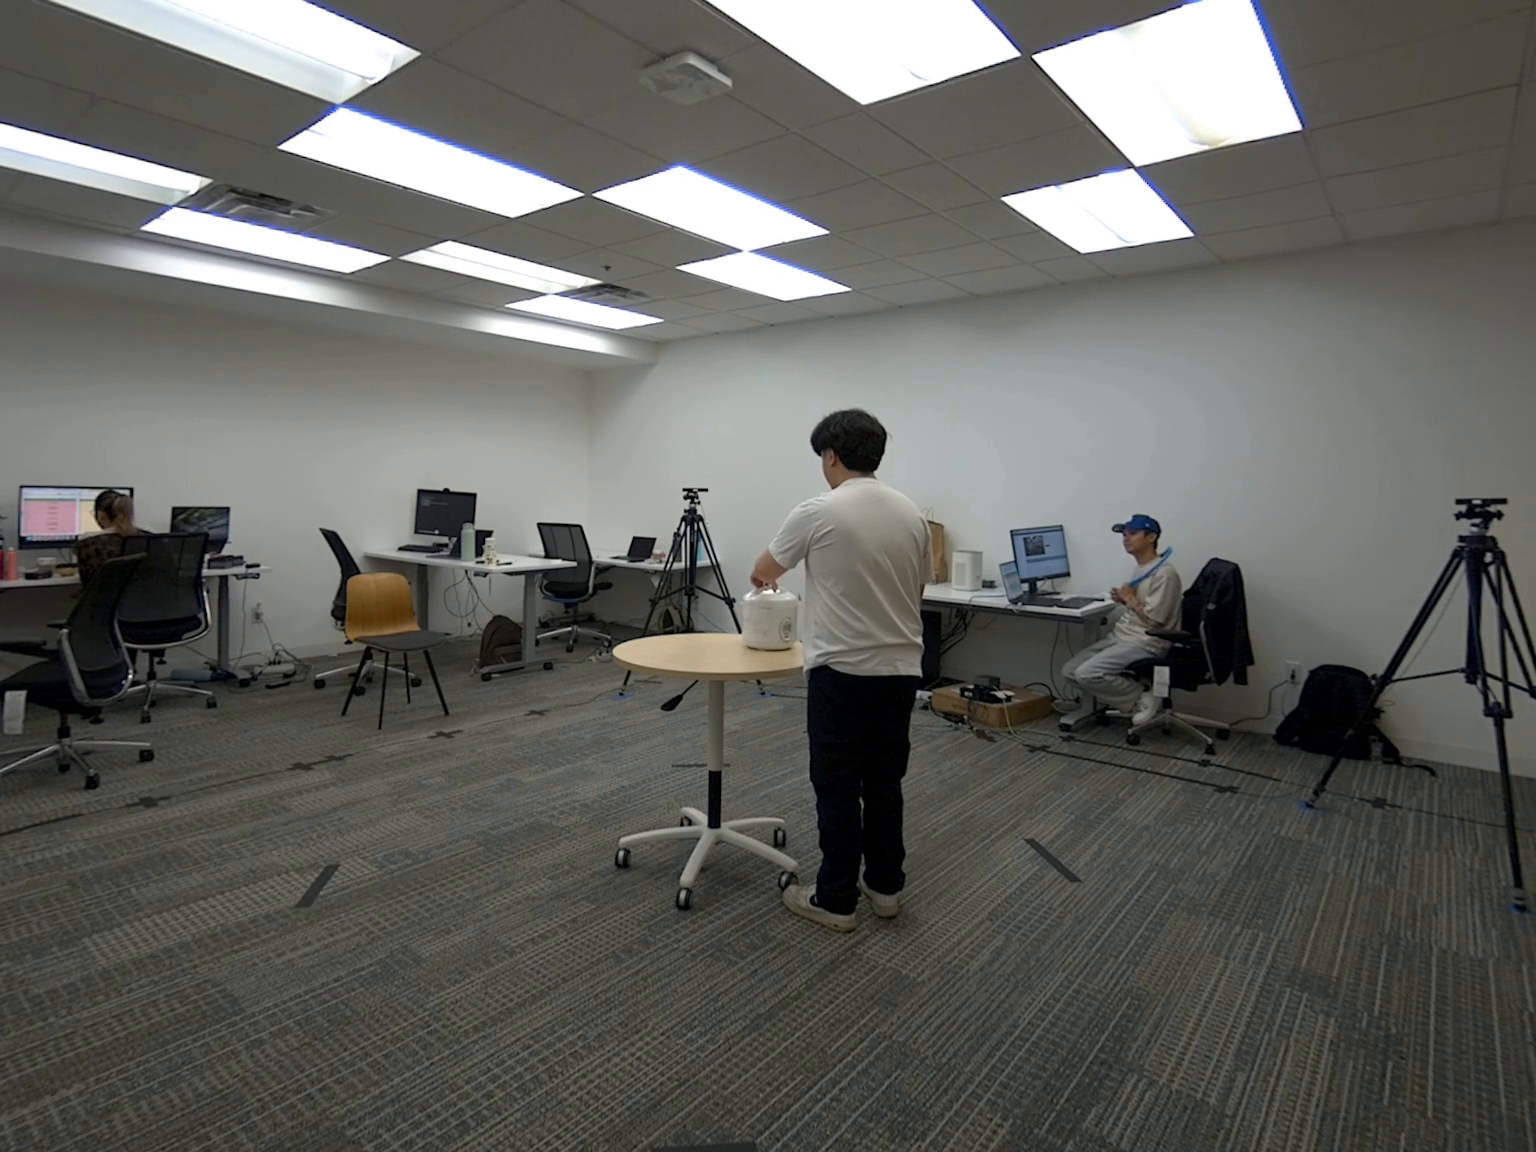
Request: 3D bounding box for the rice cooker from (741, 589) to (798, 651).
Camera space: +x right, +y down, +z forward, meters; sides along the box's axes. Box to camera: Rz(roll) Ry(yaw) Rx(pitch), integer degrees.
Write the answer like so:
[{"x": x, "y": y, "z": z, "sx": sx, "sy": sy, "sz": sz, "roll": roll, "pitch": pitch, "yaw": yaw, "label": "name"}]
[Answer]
[{"x": -0.002, "y": 0.148, "z": 3.212, "sx": 0.214, "sy": 0.232, "sz": 0.224, "roll": -3, "pitch": 5, "yaw": -35, "label": "rice cooker"}]
